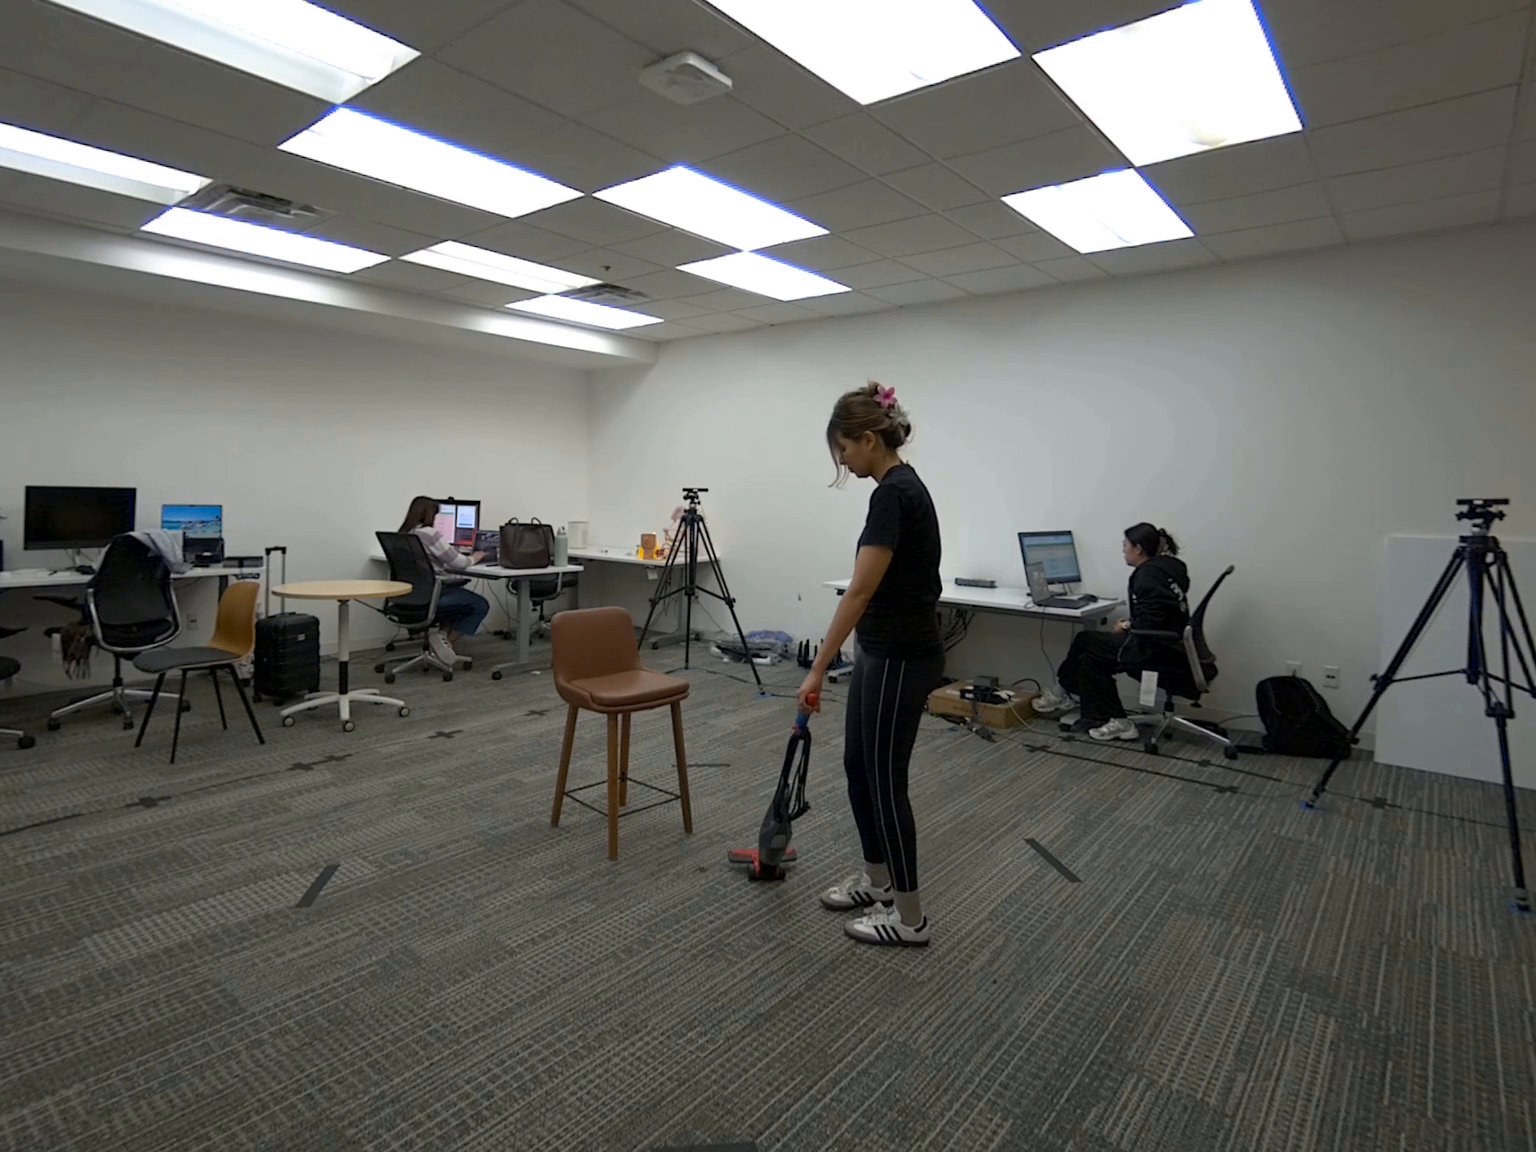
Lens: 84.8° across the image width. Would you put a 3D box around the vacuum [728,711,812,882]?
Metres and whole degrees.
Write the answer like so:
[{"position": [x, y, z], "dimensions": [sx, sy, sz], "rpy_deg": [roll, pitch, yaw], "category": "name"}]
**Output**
[{"position": [0.044, 0.705, 2.732], "dimensions": [0.251, 1.024, 0.148], "rpy_deg": [2, 47, -7], "category": "vacuum"}]
